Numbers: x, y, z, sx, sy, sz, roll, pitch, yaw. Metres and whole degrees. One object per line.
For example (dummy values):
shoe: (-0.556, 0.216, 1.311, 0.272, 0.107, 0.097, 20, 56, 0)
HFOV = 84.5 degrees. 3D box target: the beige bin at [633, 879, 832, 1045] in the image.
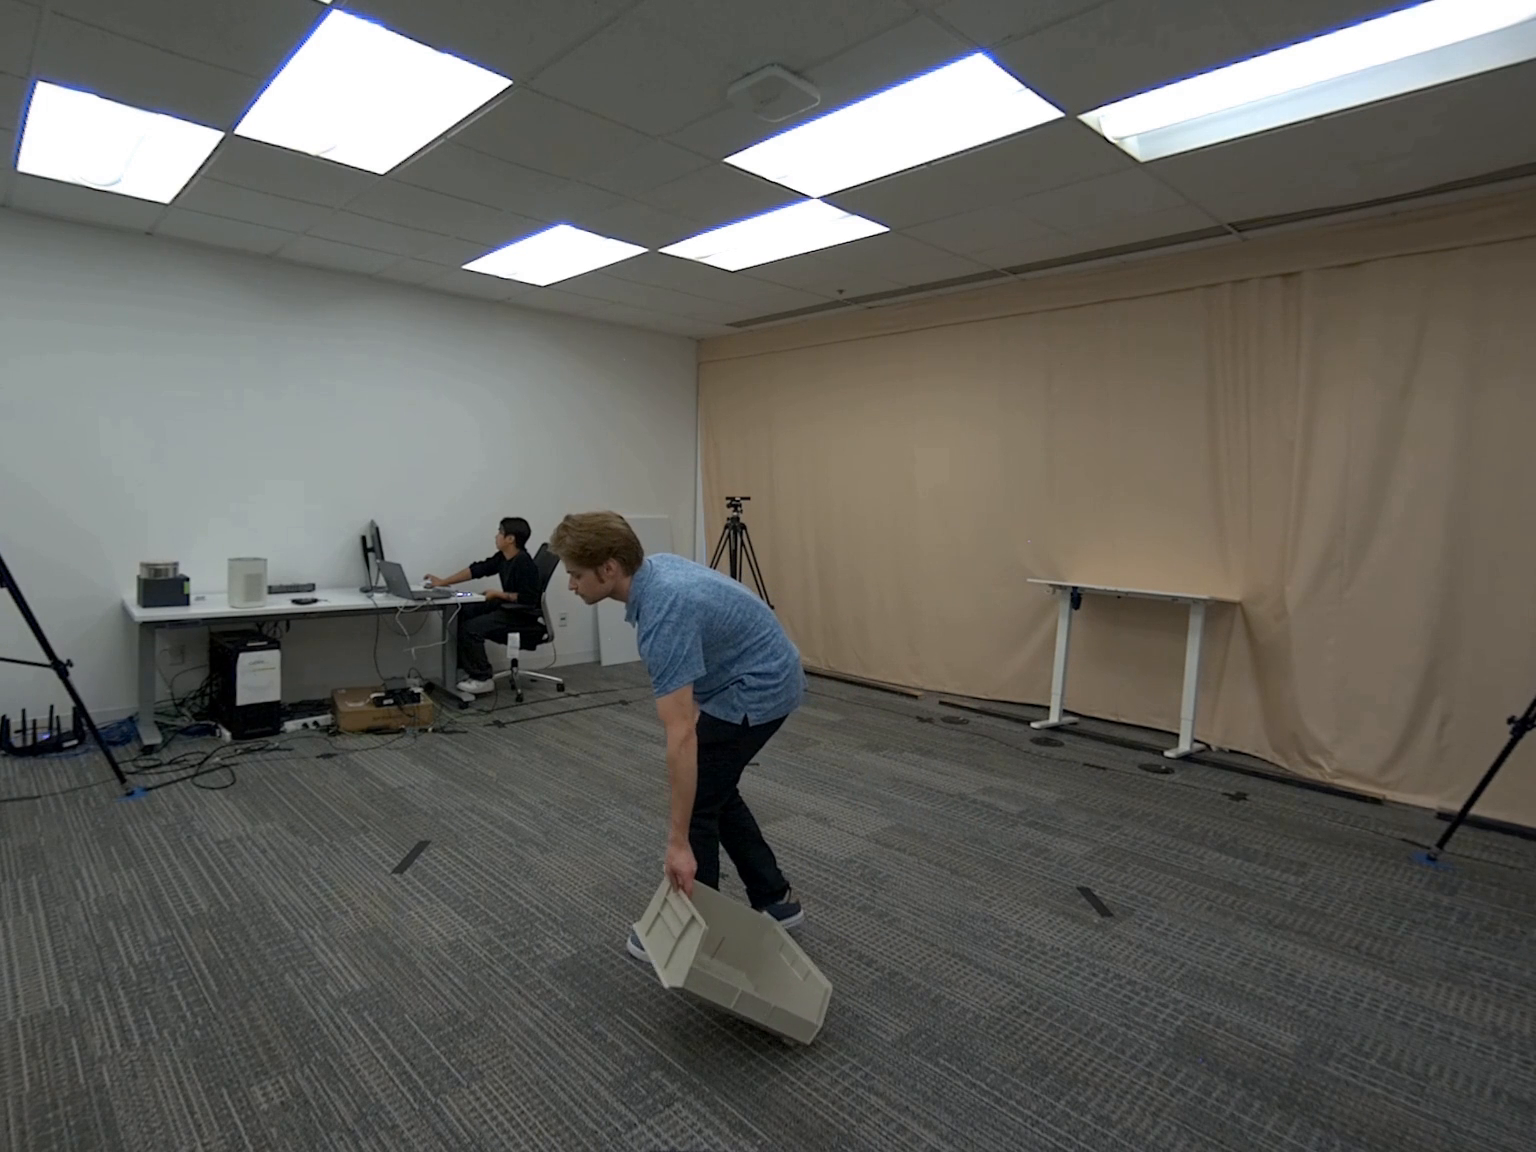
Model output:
beige bin: (-0.107, 1.010, 2.210, 0.413, 0.189, 0.385, 34, -9, -22)
